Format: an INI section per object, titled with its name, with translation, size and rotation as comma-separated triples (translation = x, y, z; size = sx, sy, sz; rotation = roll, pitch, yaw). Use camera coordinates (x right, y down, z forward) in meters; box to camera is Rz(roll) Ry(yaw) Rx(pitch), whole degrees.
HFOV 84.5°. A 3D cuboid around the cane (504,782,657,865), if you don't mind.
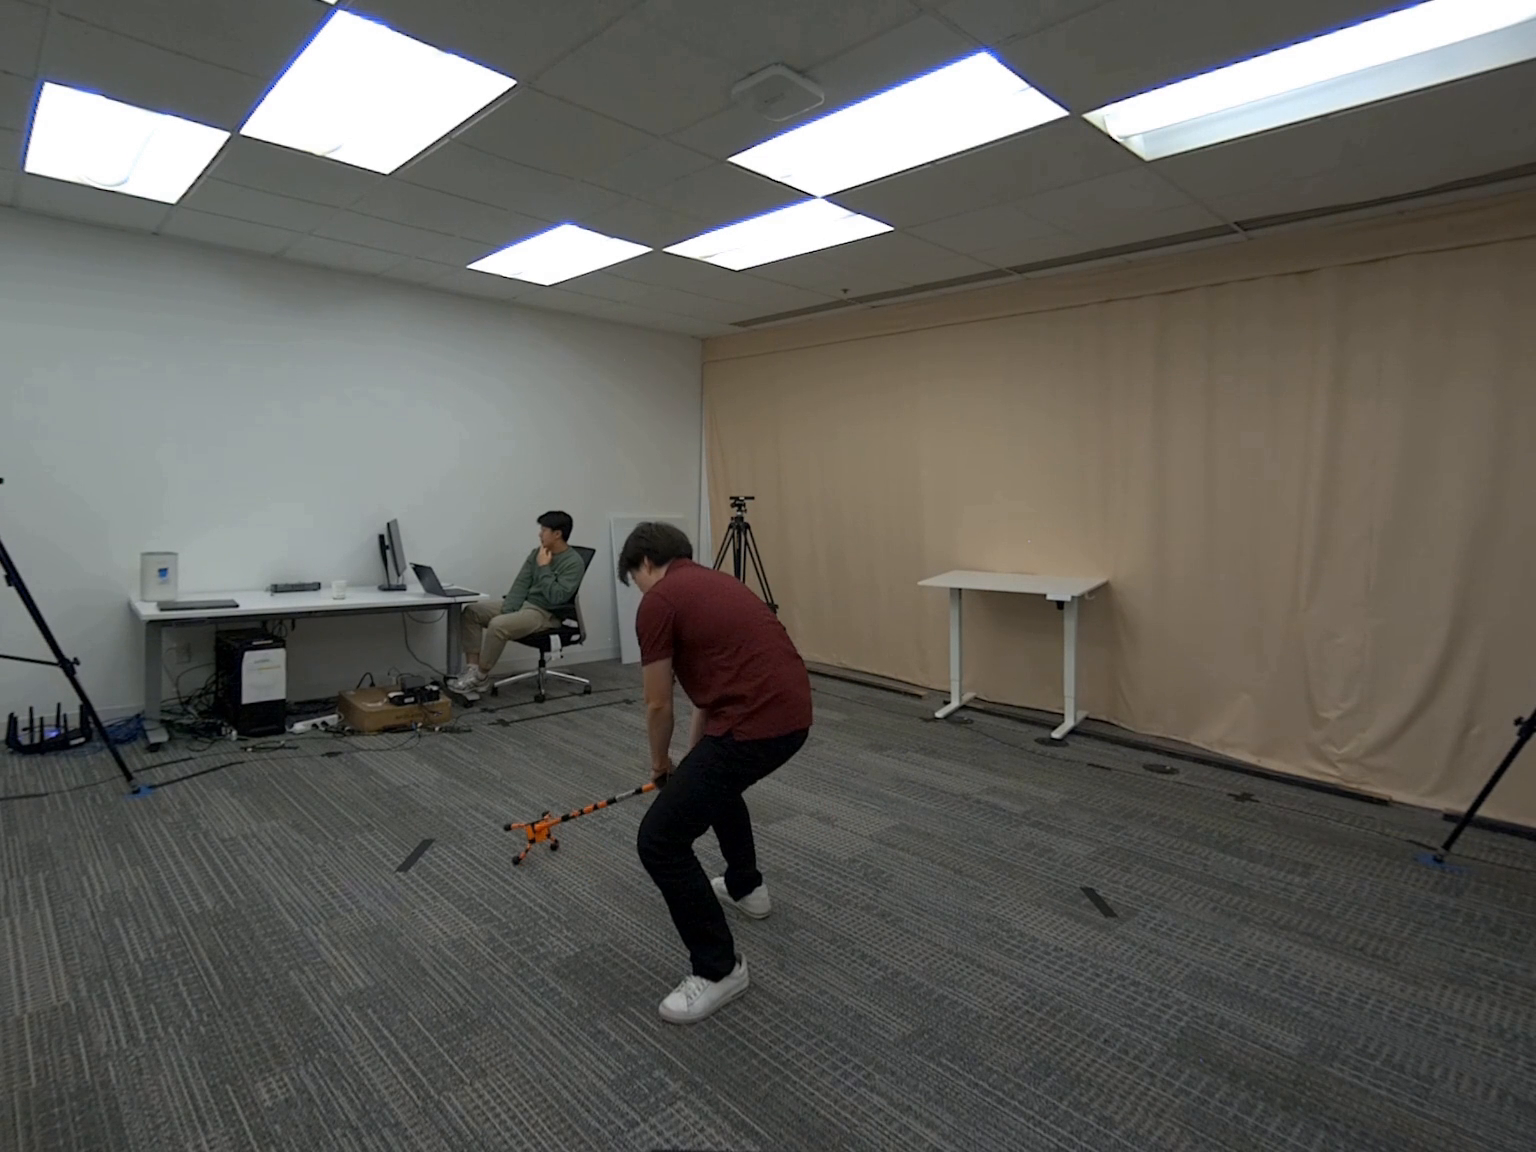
[cane]
translation = -0.607, 0.833, 2.971
size = 0.916, 0.153, 0.202
rotation = -29, -16, 38
